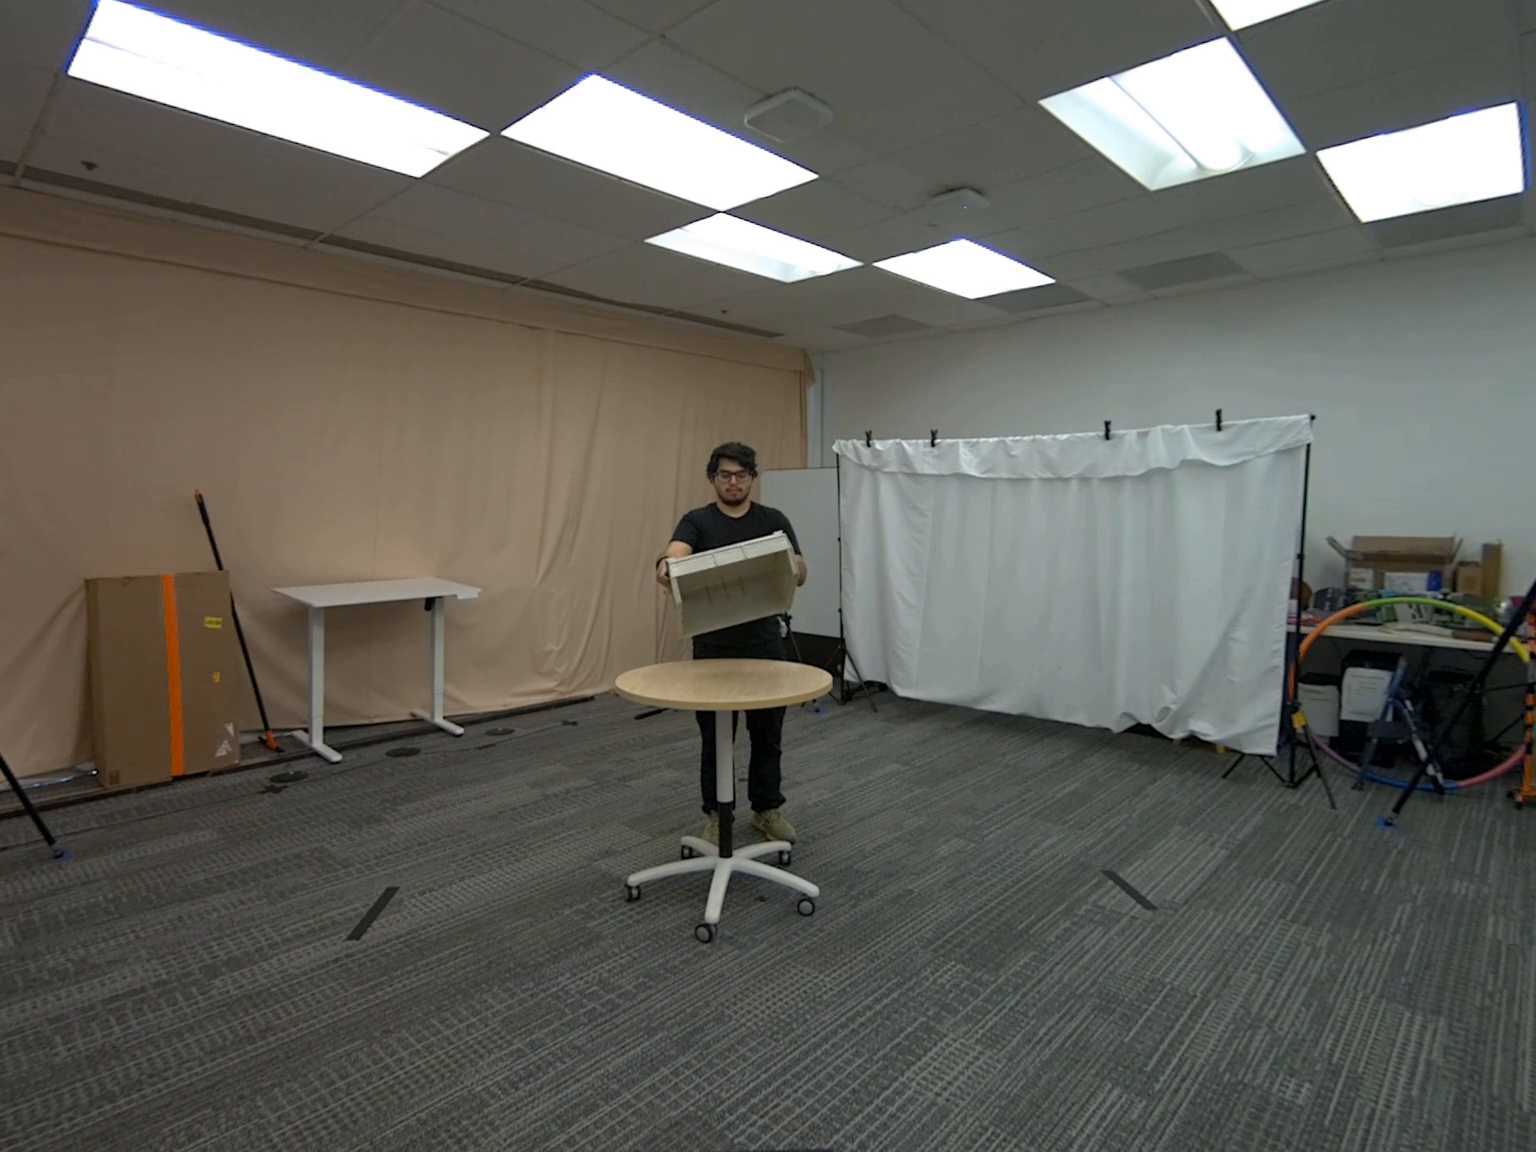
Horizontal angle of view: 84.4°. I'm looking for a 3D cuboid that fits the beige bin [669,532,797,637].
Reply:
[{"bbox_3d":[-0.130,0.030,2.930,0.420,0.192,0.372,-14,-21,-7],"label":"beige bin"}]
